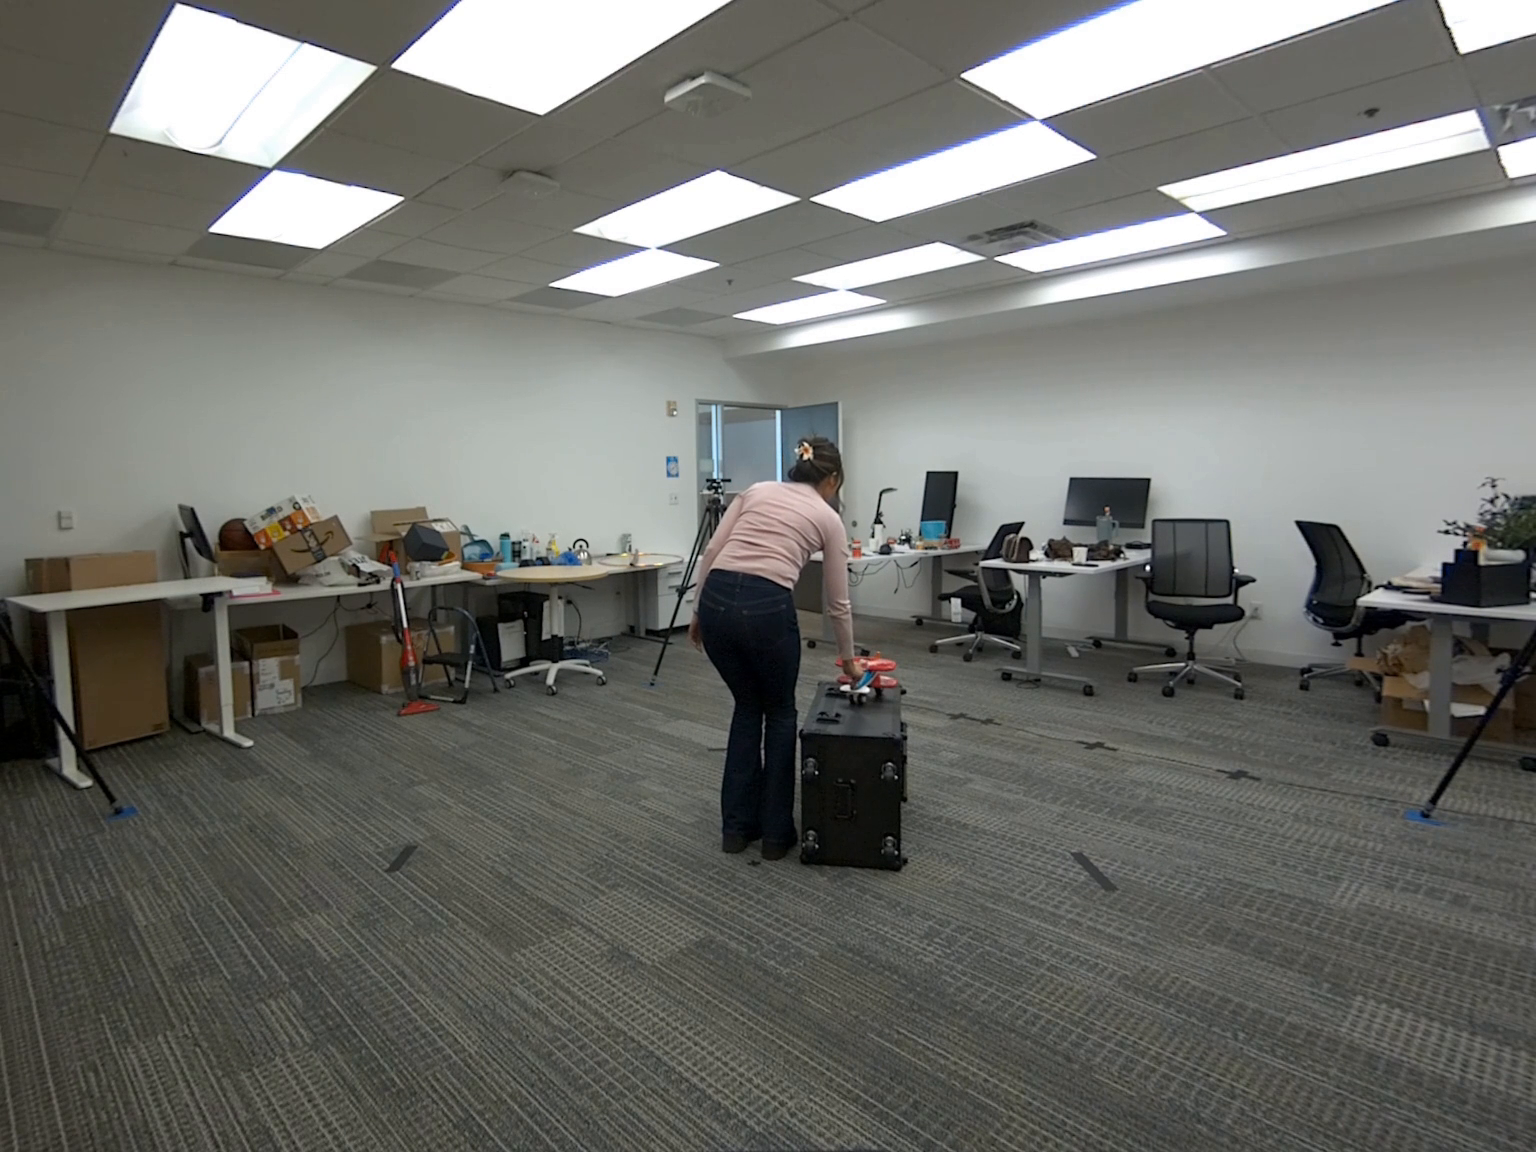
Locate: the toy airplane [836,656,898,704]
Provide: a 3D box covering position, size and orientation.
[{"bbox_3d":[0.418,0.428,3.539,0.250,0.156,0.261,-1,5,-3],"label":"toy airplane"}]
